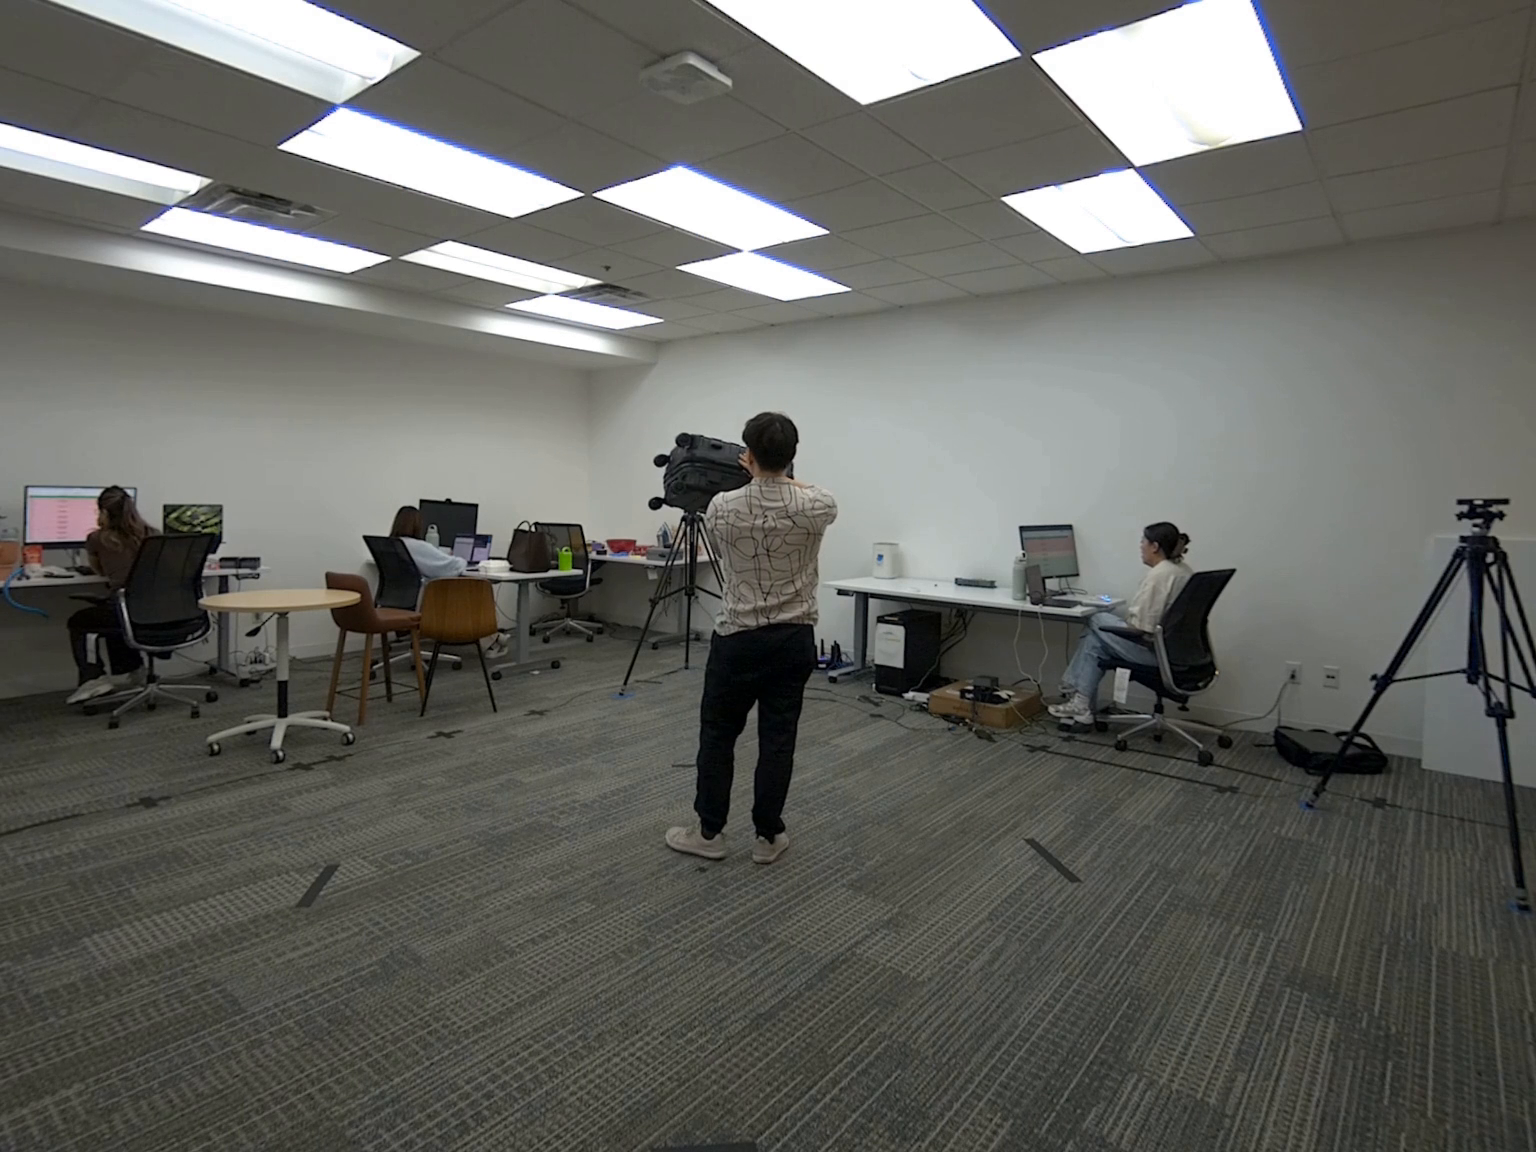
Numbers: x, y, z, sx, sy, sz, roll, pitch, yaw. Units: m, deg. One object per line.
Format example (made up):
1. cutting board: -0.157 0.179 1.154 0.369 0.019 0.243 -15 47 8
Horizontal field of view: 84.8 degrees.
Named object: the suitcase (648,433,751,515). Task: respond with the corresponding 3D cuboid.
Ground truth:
1. suitcase: -0.196 -0.401 3.596 0.537 0.252 0.379 9 -16 -21
